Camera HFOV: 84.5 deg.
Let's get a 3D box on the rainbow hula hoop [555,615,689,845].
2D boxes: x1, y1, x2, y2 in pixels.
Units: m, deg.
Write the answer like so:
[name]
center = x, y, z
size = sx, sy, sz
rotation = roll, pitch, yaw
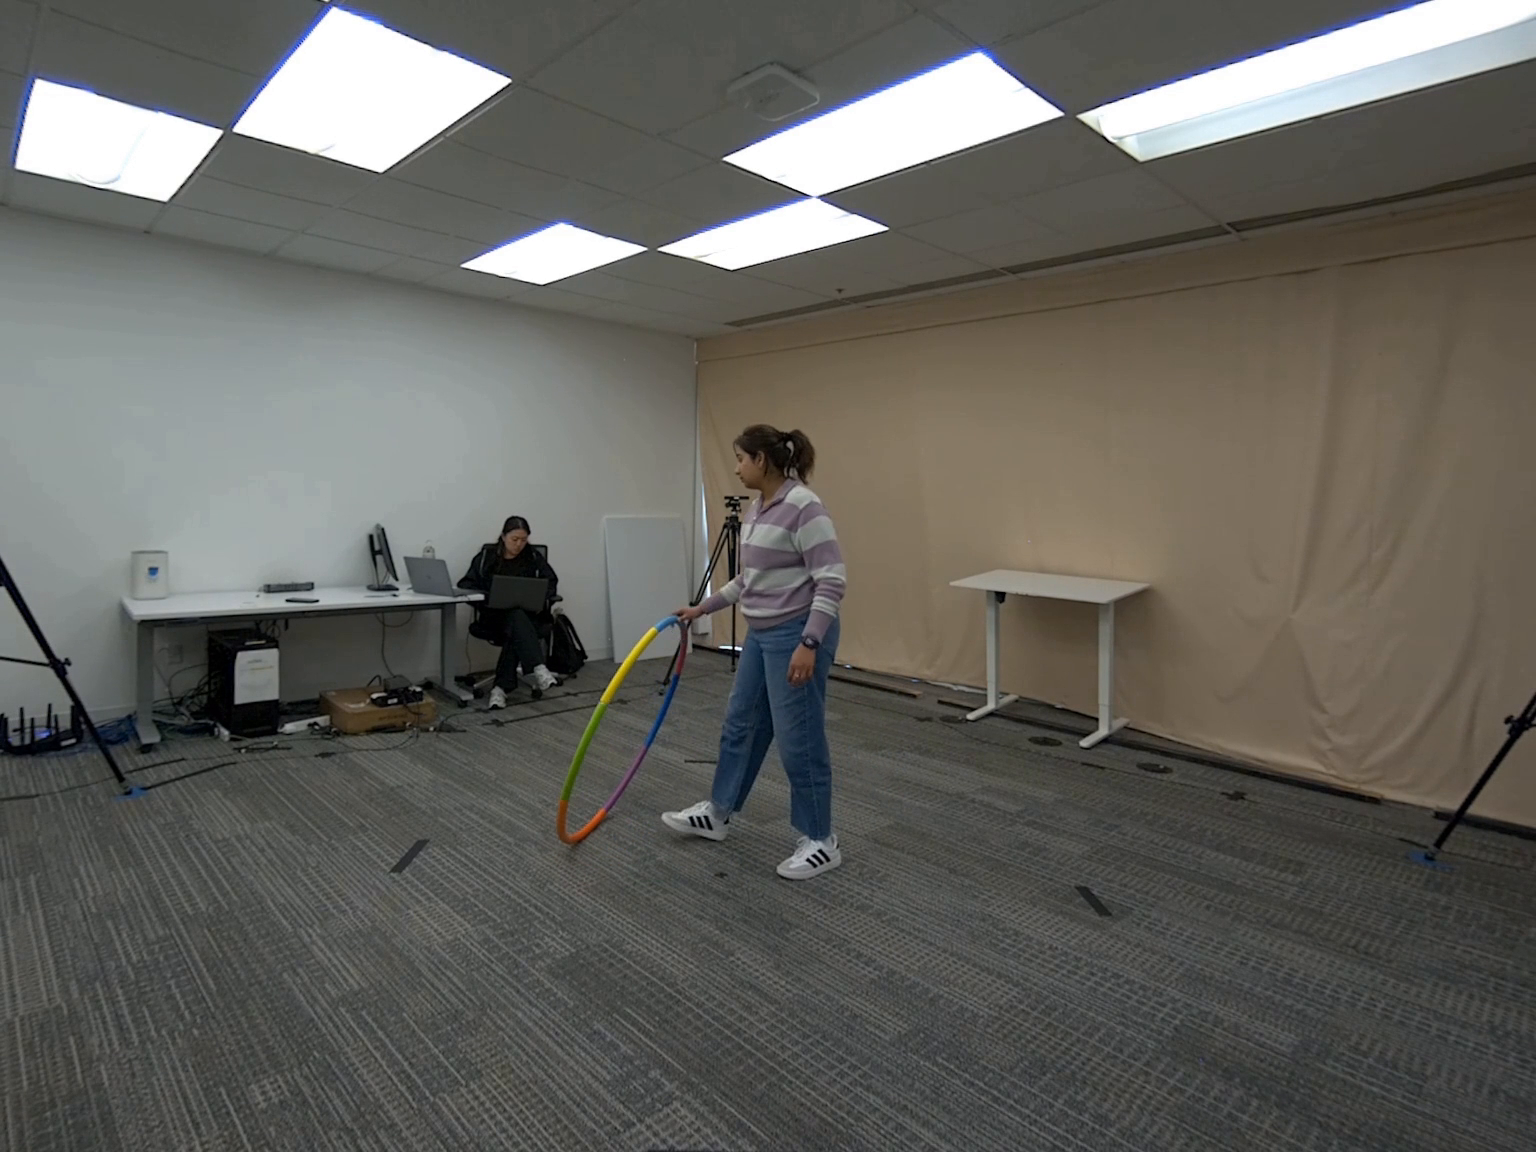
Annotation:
[rainbow hula hoop]
center = -0.575, 0.611, 3.387
size = 0.052, 0.982, 0.977
rotation = 23, 9, 9
